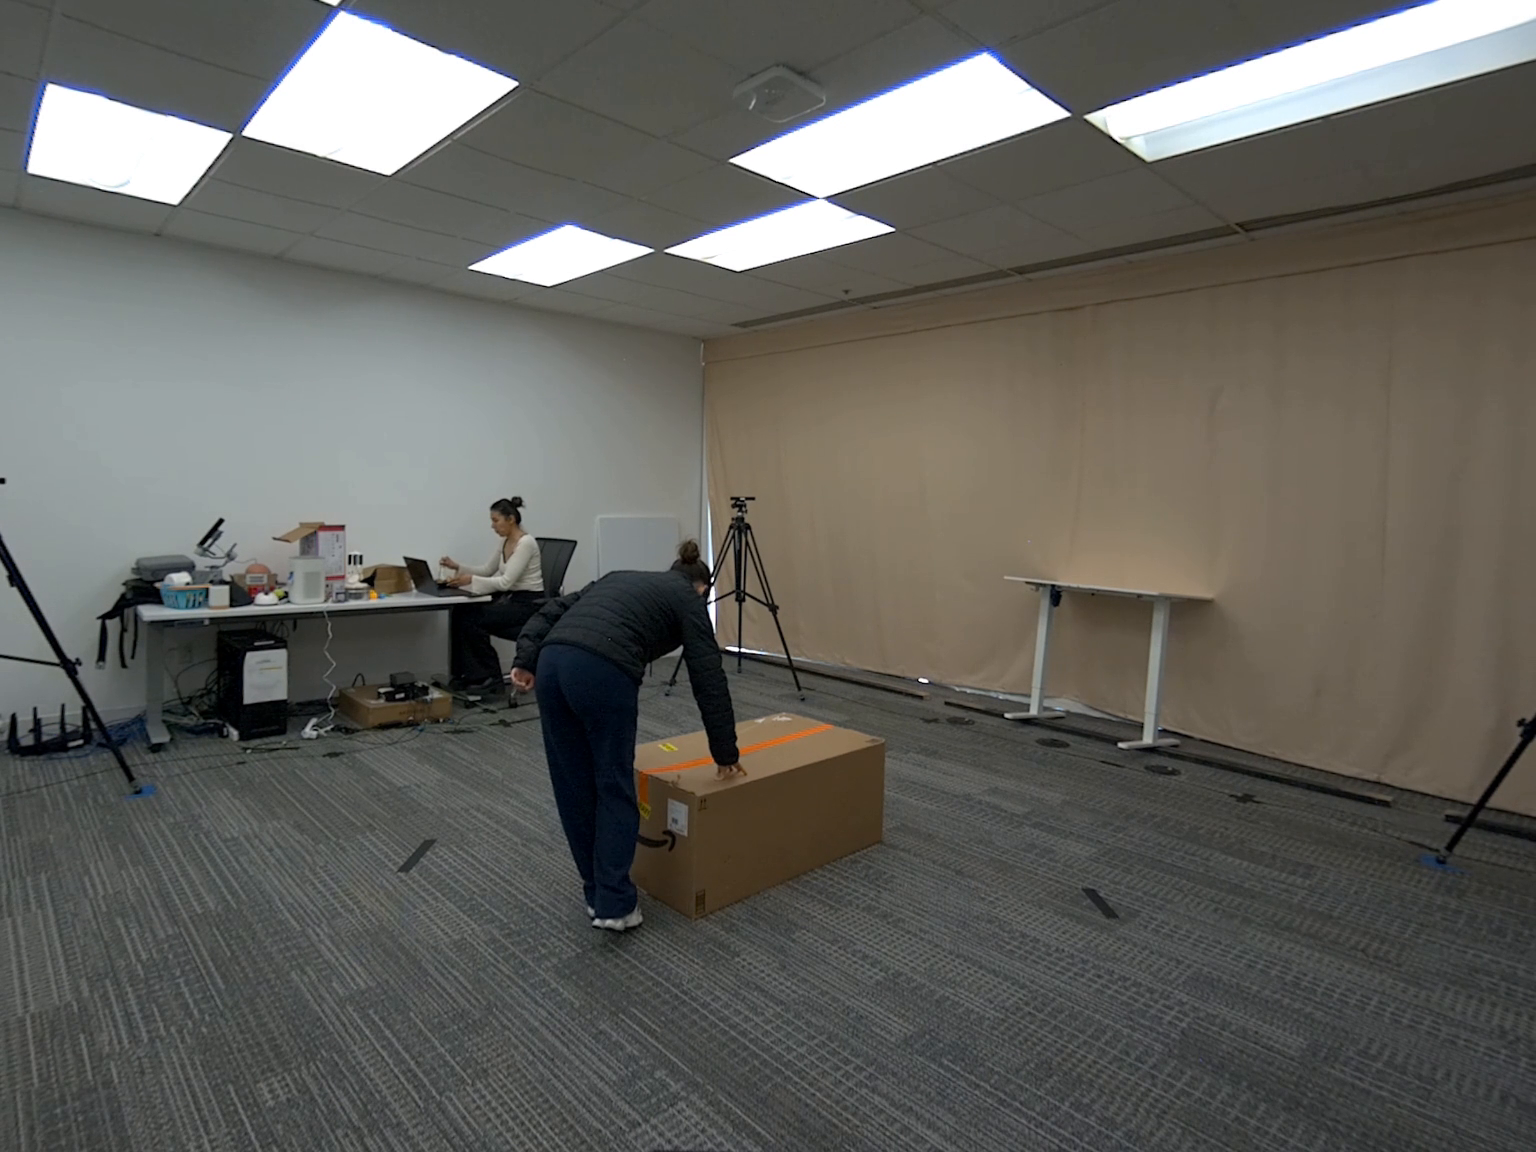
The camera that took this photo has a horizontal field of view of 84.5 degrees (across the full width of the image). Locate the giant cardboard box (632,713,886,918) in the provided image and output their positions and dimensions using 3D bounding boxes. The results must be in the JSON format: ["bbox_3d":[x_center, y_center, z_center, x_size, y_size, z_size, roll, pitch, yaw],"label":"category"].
[{"bbox_3d":[-0.088,0.884,3.295,1.003,0.445,0.599,-3,7,-44],"label":"giant cardboard box"}]
